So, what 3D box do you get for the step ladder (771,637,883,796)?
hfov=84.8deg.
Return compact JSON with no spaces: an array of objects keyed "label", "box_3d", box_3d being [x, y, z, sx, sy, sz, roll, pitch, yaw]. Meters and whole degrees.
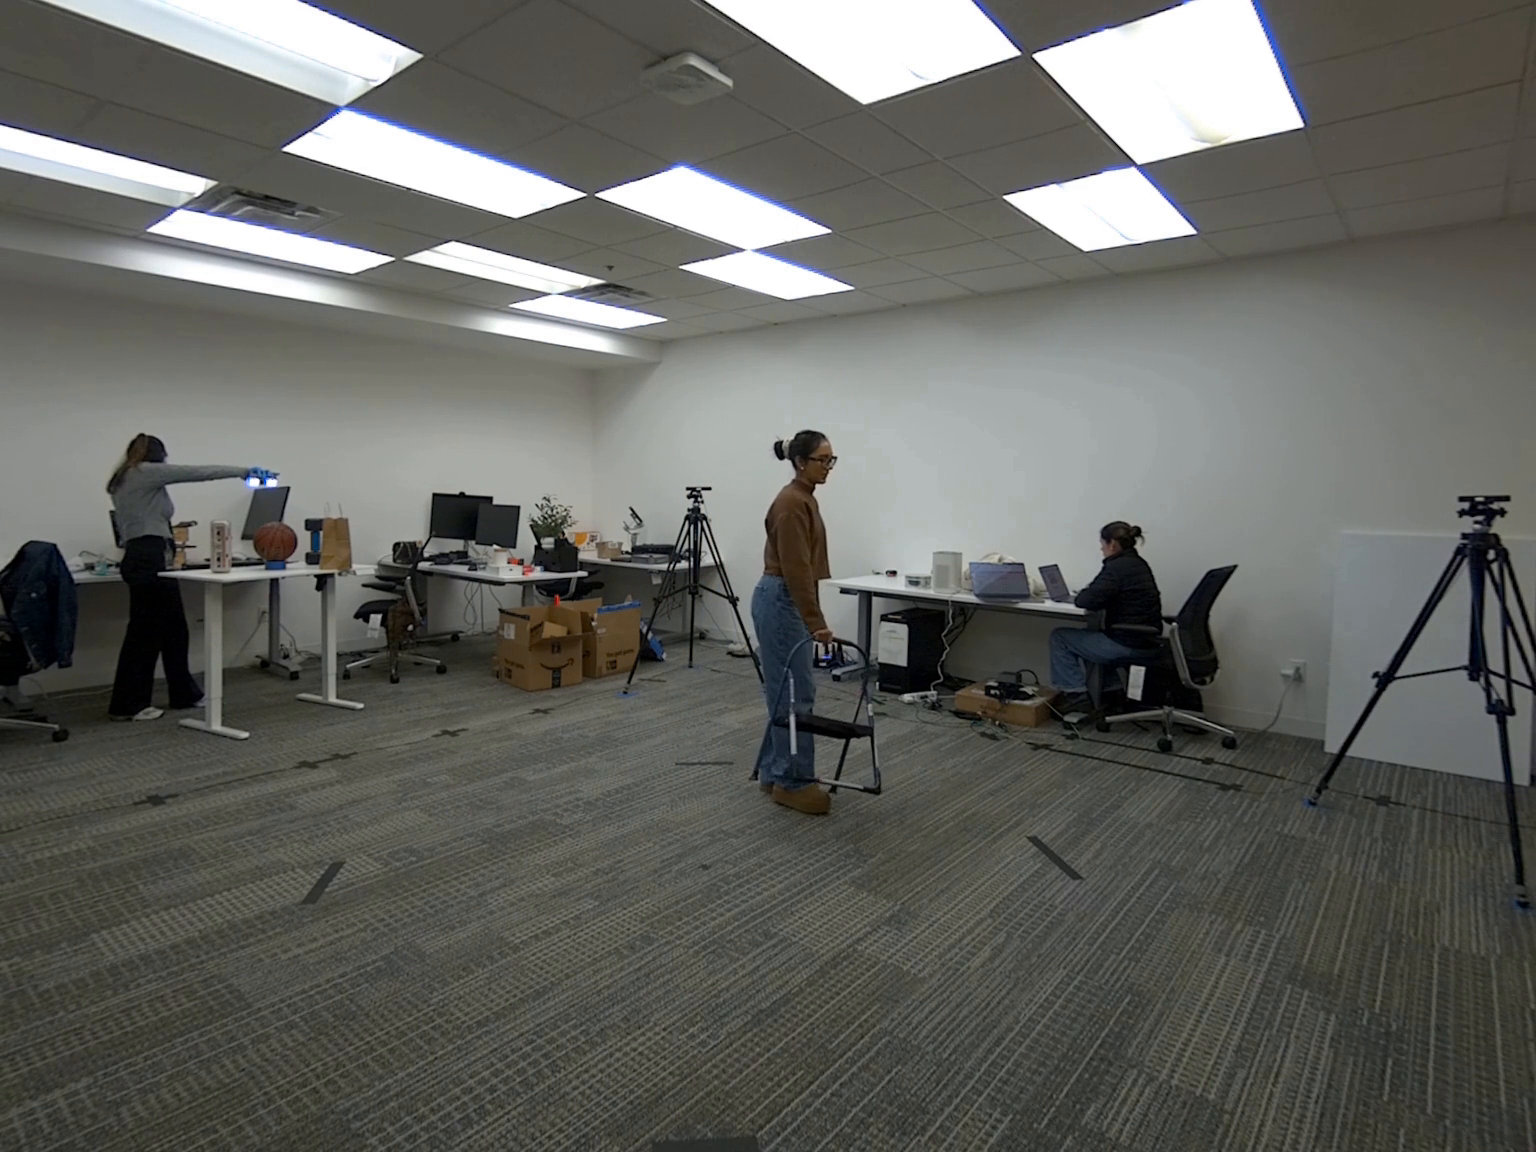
[{"label":"step ladder","box_3d":[0.217,0.565,3.544,0.418,0.615,0.354,16,-20,-26]}]
